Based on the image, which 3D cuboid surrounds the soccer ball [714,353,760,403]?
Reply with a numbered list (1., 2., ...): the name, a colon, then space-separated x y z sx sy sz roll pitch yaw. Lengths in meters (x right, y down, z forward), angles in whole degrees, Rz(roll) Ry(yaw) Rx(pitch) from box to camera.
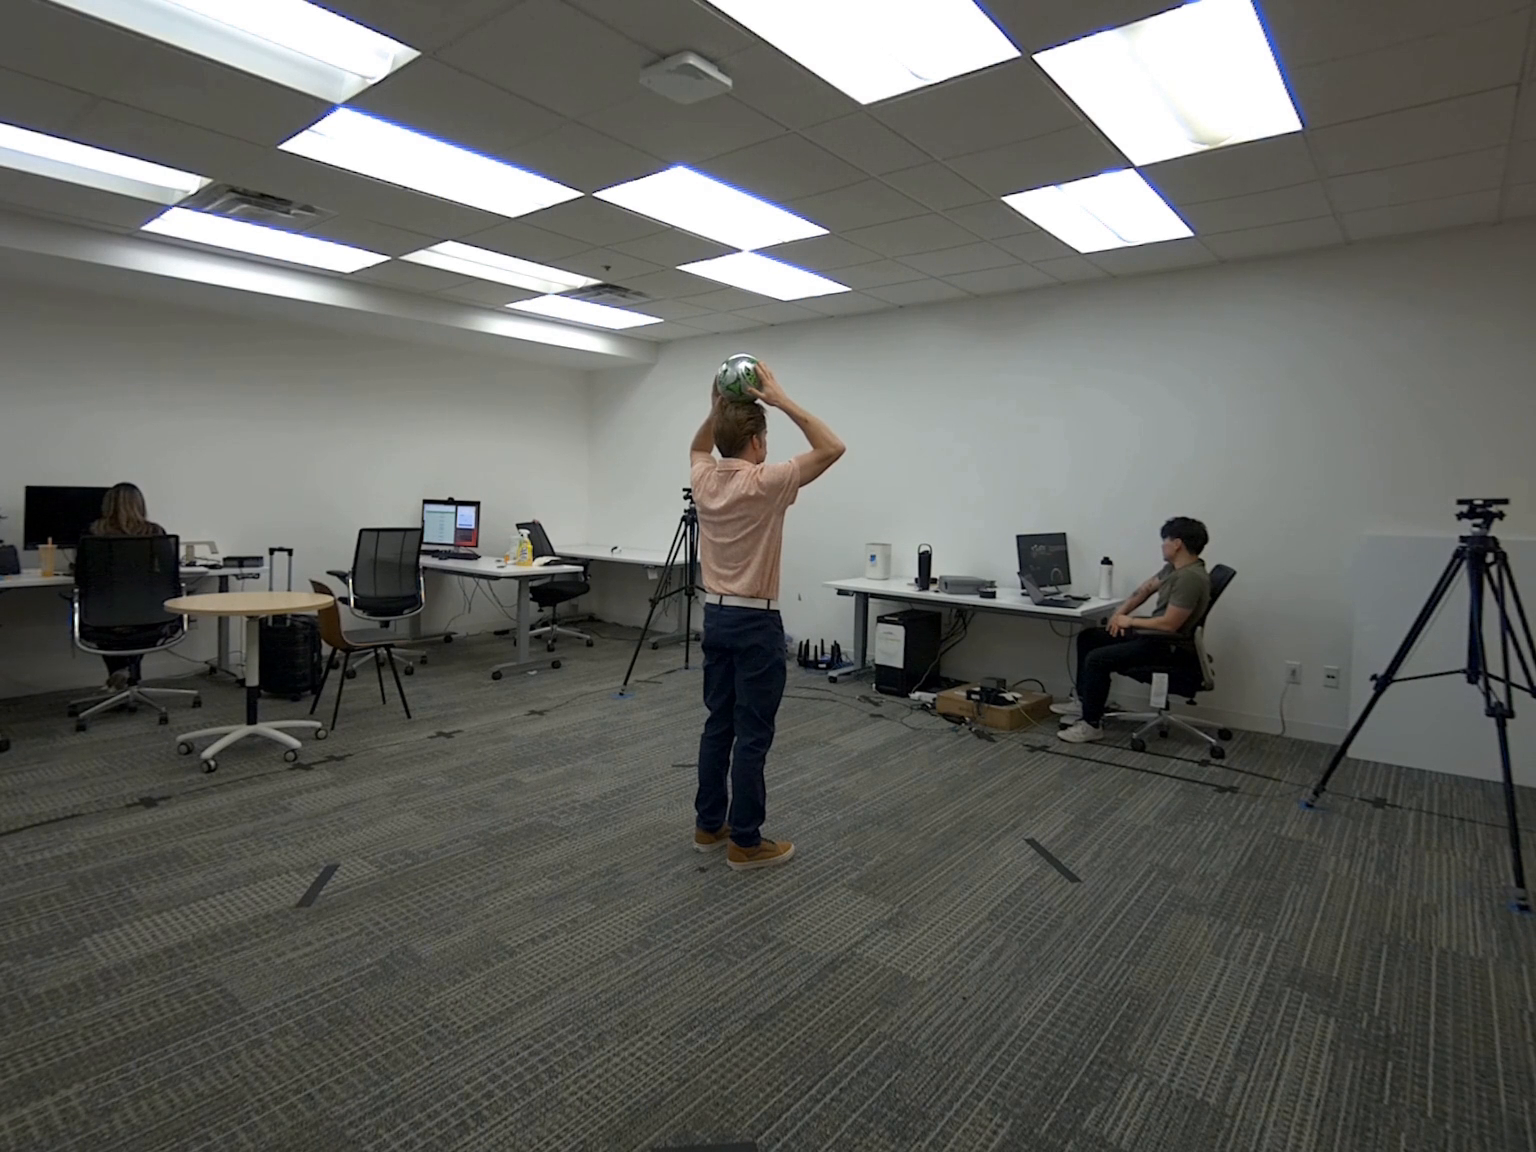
1. soccer ball: -0.111 -0.722 3.165 0.187 0.187 0.188 1 4 -2
